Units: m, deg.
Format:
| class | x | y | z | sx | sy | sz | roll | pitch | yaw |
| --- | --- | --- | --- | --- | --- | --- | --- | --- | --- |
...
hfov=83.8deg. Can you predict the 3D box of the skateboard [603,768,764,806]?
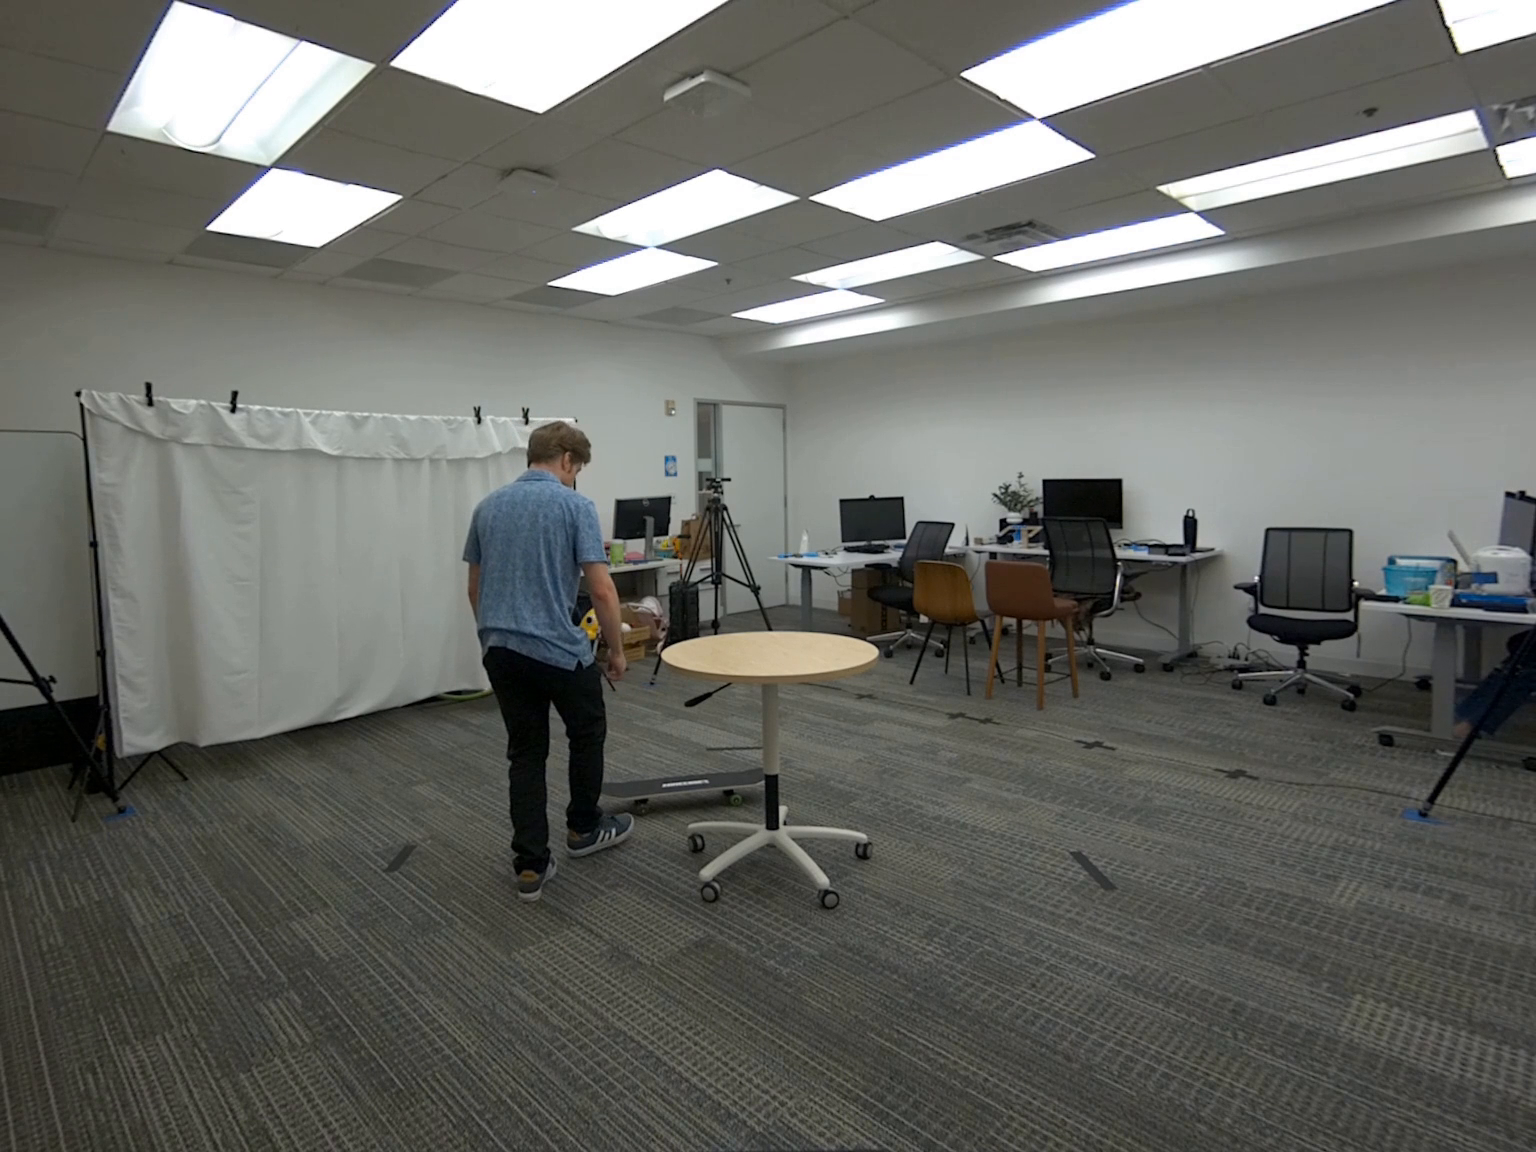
| class | x | y | z | sx | sy | sz | roll | pitch | yaw |
| --- | --- | --- | --- | --- | --- | --- | --- | --- | --- |
| skateboard | -0.354 | 0.928 | 3.685 | 0.776 | 0.110 | 0.196 | -3 | 5 | -13 |
